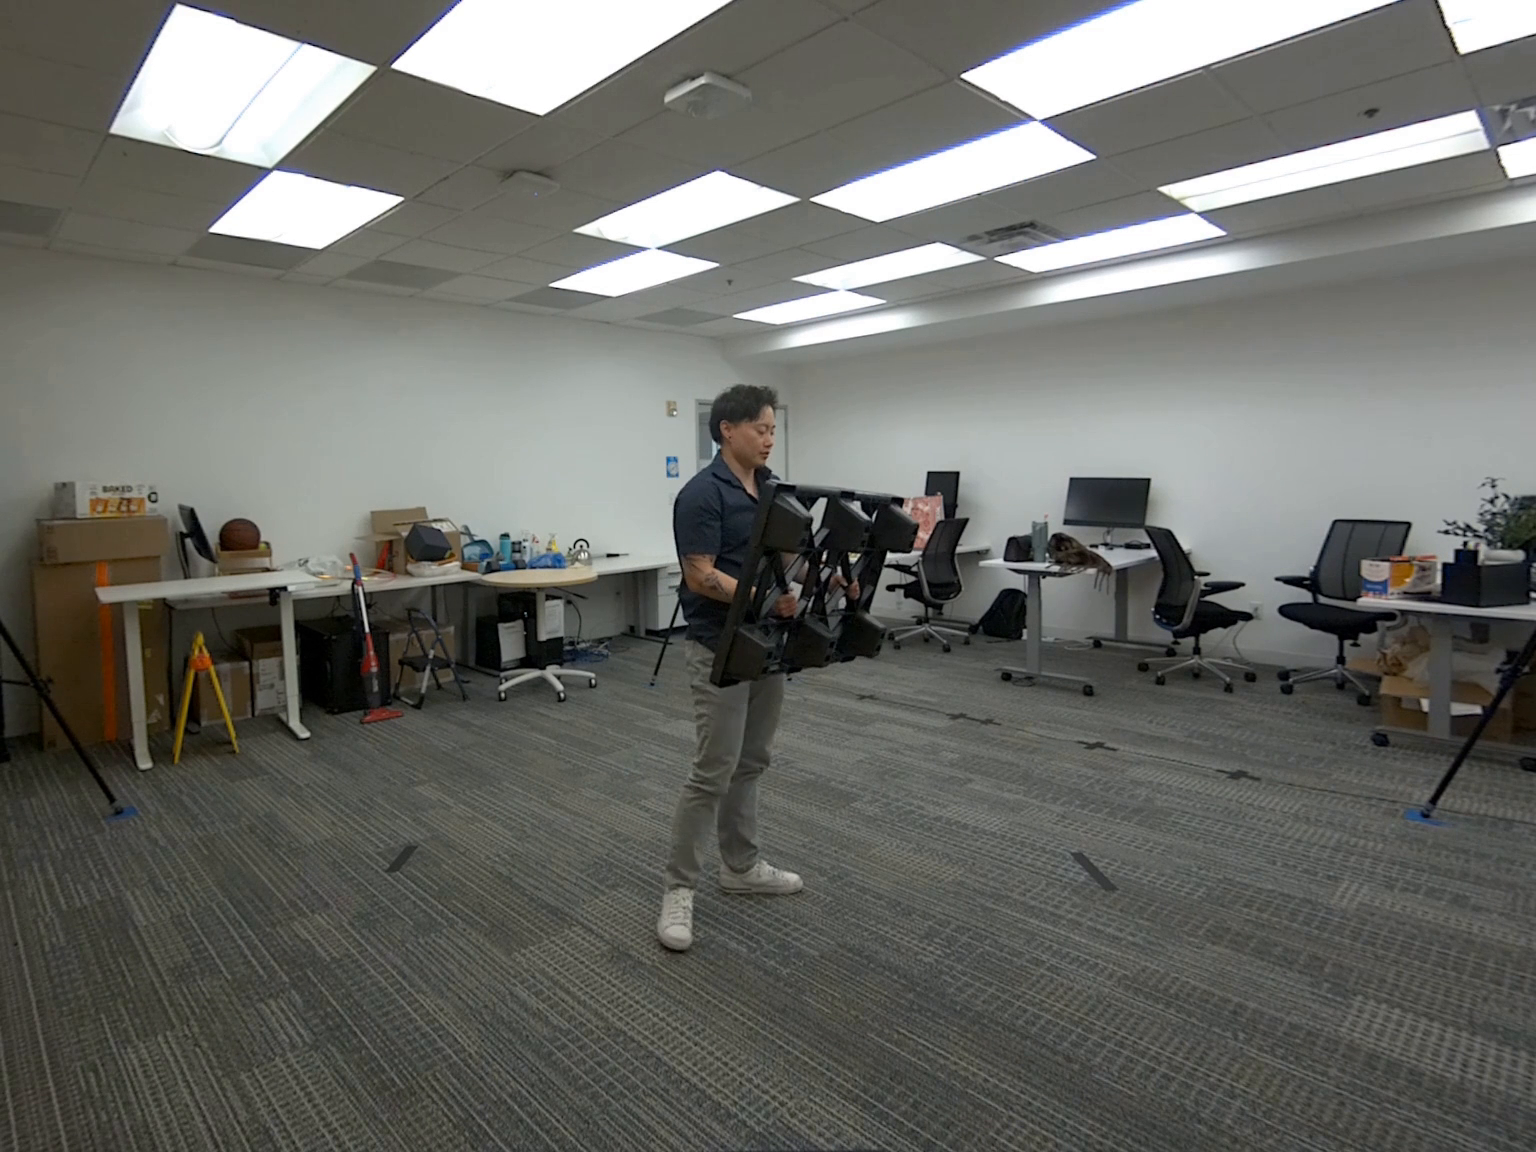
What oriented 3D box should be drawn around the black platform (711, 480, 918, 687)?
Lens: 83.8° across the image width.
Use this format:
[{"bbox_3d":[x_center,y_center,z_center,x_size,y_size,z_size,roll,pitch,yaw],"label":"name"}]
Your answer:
[{"bbox_3d":[0.185,0.031,2.609,0.148,0.601,0.783,22,13,32],"label":"black platform"}]
